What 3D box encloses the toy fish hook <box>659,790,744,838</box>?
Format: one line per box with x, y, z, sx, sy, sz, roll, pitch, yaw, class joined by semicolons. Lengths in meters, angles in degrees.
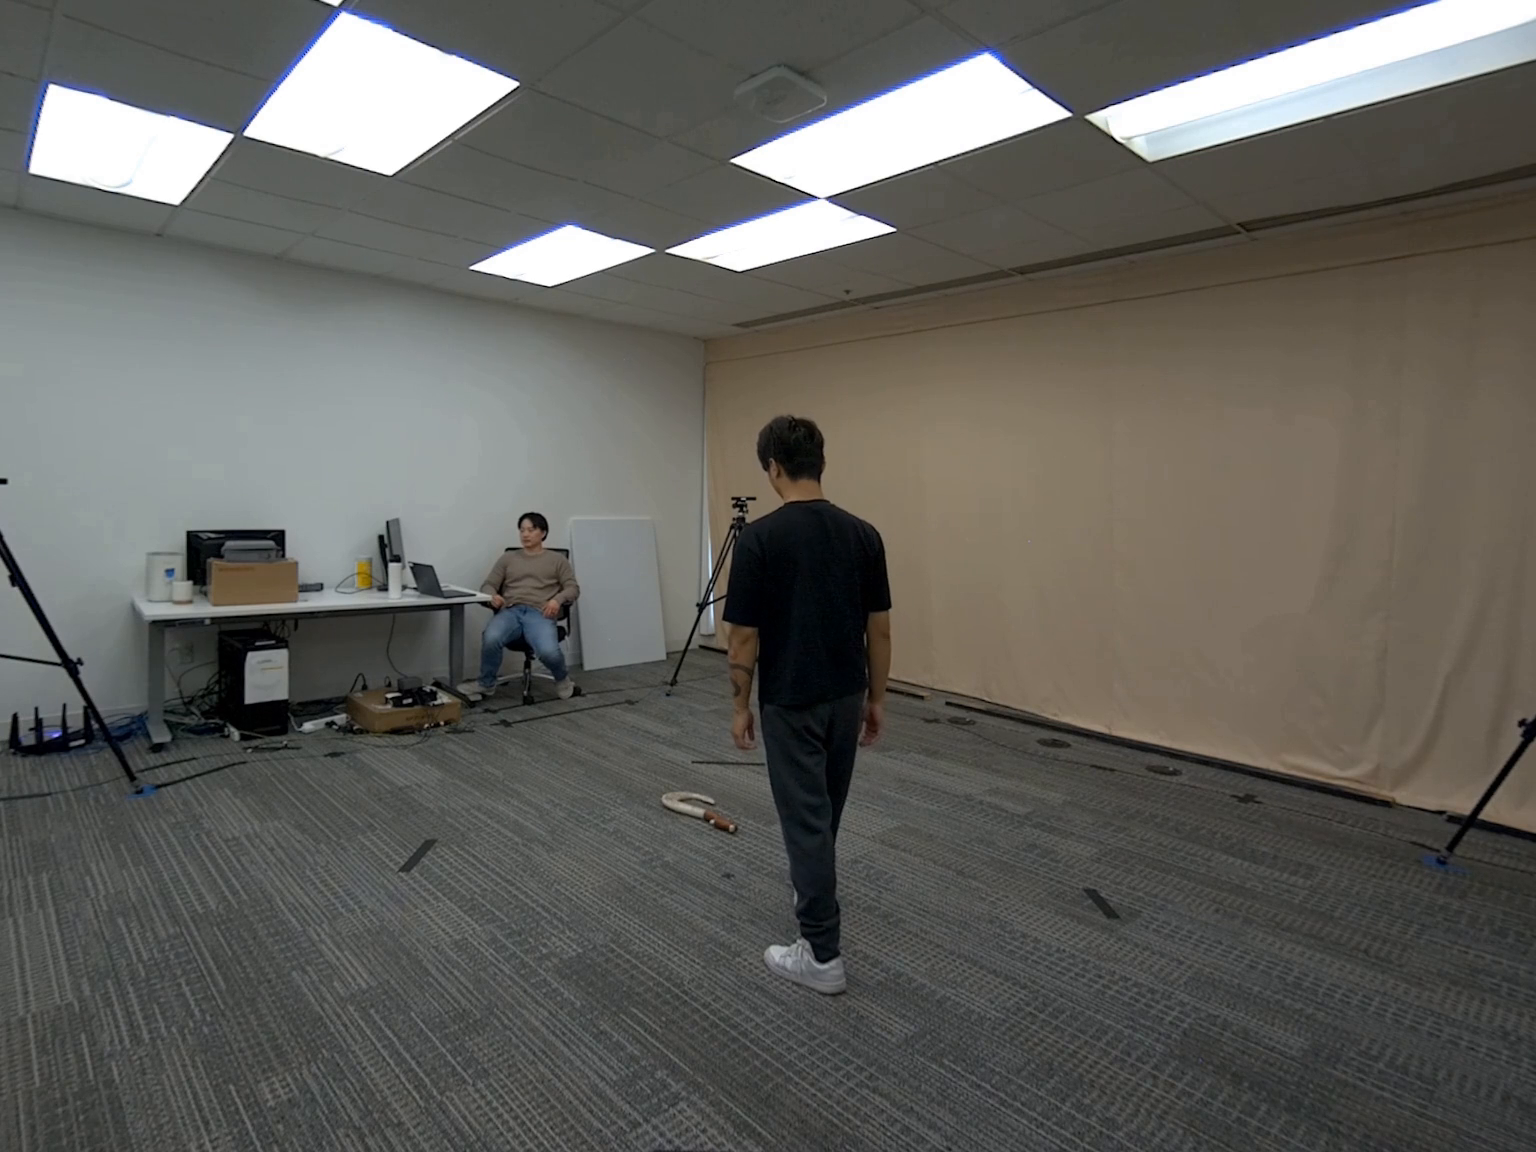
-0.277;1.028;3.712;0.219;0.048;0.520;-4;8;-41;toy fish hook
